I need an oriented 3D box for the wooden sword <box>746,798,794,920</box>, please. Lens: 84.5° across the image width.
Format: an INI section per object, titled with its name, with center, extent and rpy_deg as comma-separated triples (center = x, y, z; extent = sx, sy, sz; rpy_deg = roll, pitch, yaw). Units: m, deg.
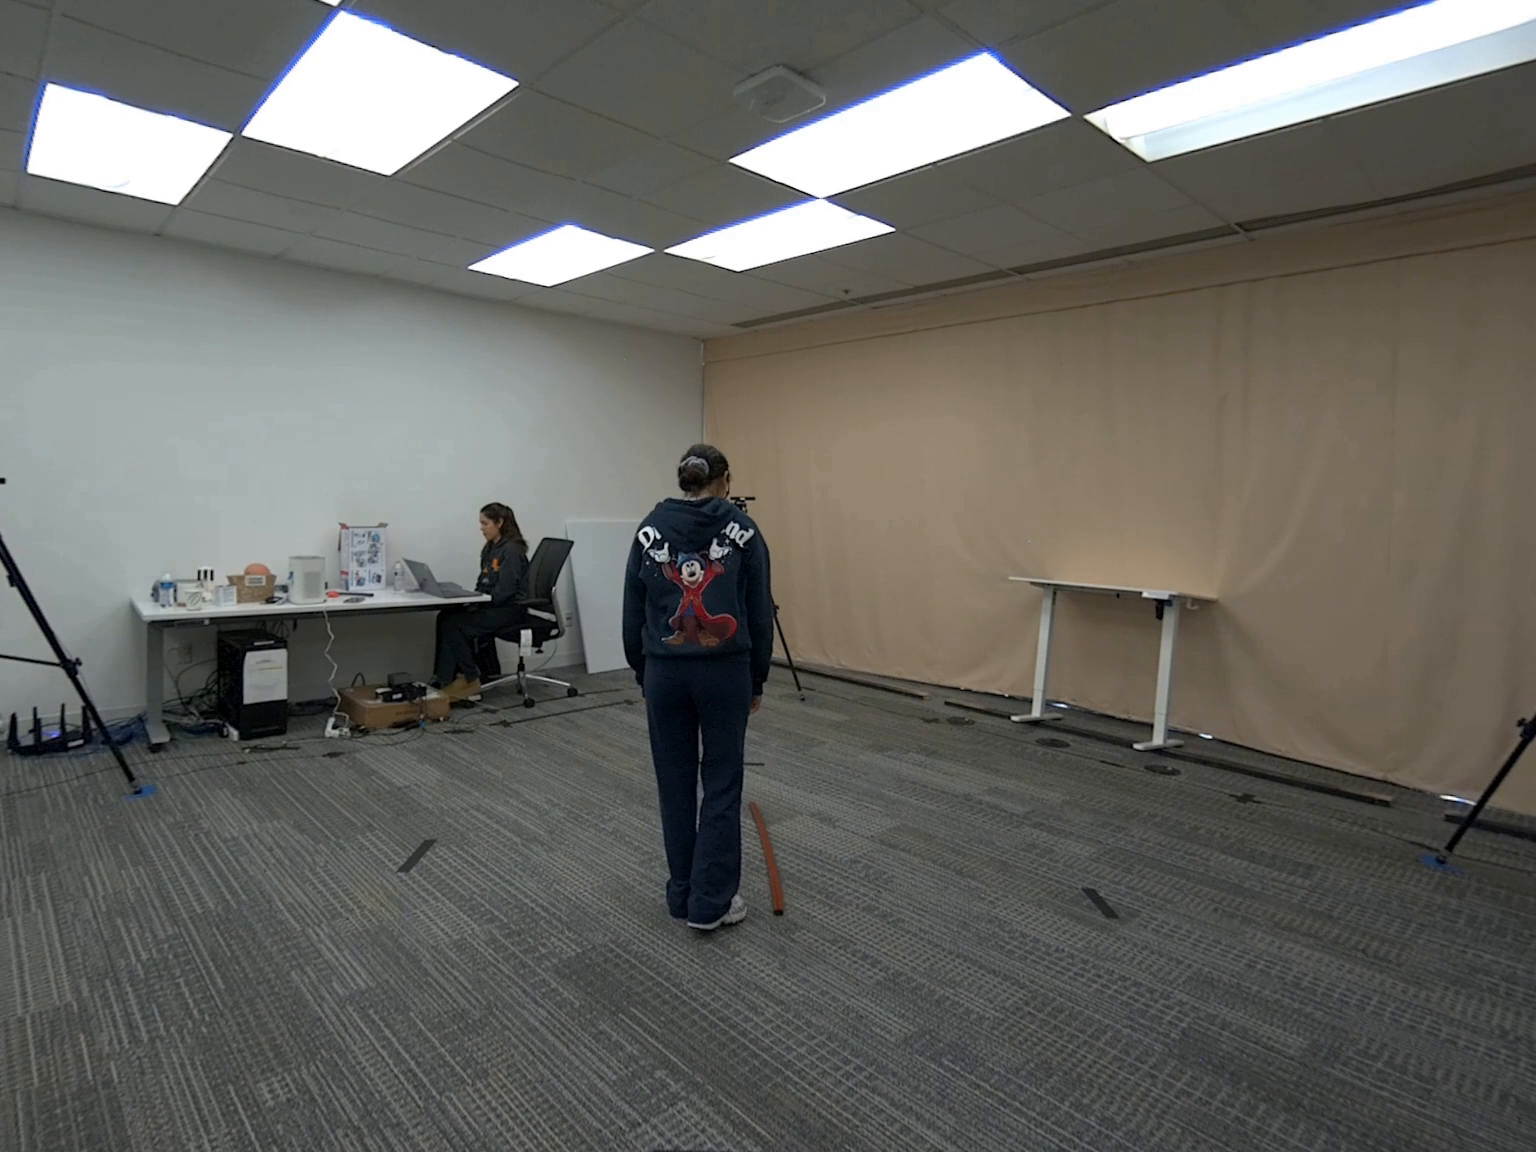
[wooden sword]
center = -0.008, 1.074, 3.329
extent = 0.051, 0.024, 1.032
rpy_deg = 46, -2, -8
